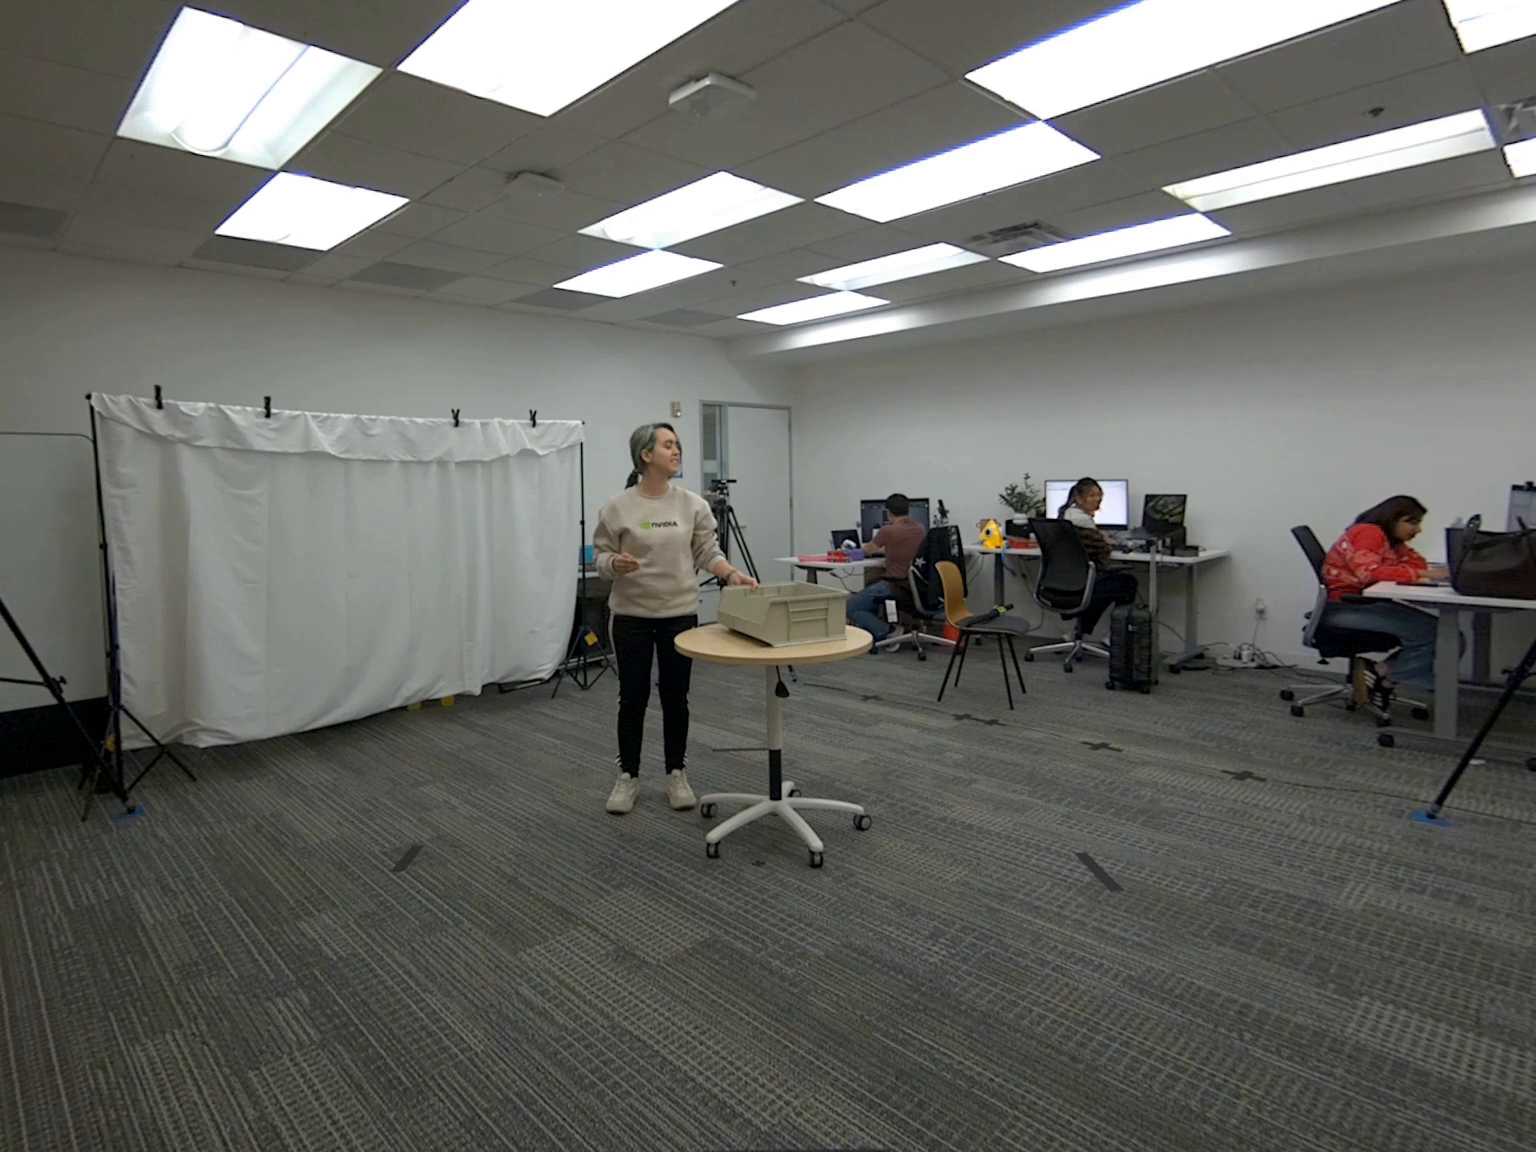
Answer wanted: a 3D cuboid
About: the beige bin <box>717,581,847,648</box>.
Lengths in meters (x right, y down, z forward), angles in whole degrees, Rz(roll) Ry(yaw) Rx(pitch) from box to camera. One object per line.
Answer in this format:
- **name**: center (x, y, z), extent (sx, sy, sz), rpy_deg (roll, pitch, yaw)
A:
- **beige bin**: center (0.057, 0.143, 3.342), extent (0.370, 0.188, 0.432), rpy_deg (-2, 5, -23)
